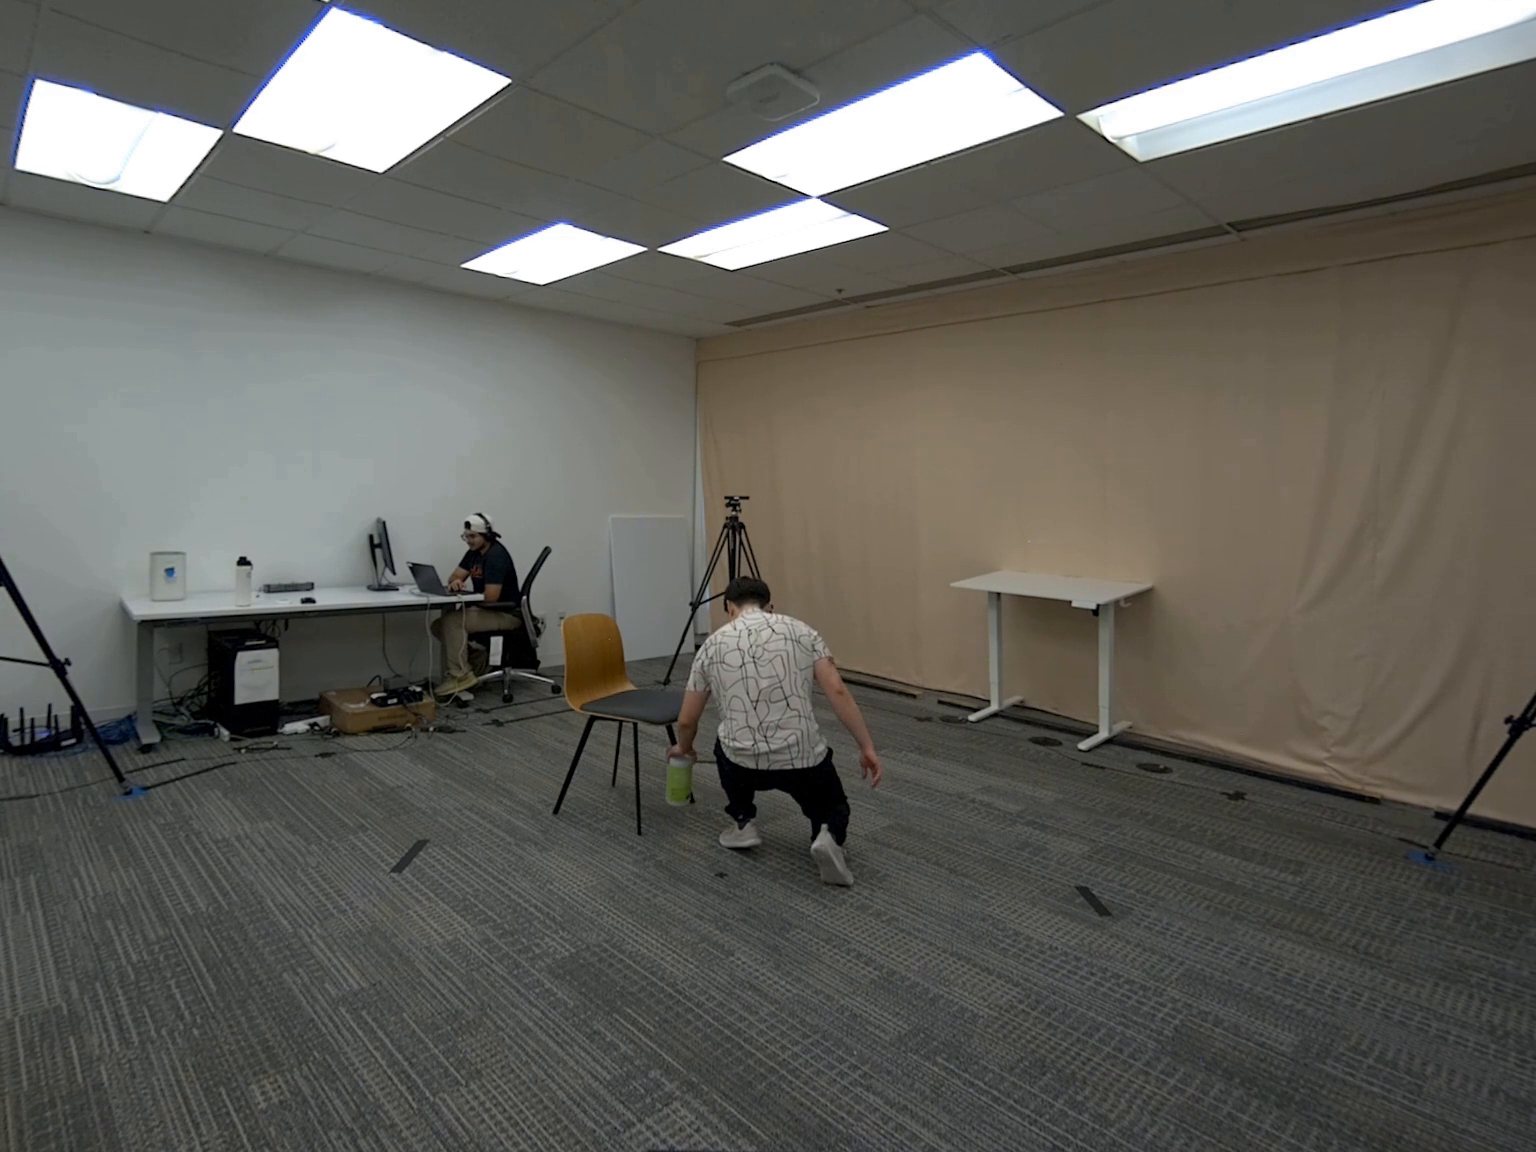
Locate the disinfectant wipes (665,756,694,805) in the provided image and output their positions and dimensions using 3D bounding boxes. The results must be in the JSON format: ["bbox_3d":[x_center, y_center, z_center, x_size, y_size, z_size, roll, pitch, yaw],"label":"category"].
[{"bbox_3d":[-0.392,0.846,3.575,0.118,0.215,0.119,0,17,-1],"label":"disinfectant wipes"}]
